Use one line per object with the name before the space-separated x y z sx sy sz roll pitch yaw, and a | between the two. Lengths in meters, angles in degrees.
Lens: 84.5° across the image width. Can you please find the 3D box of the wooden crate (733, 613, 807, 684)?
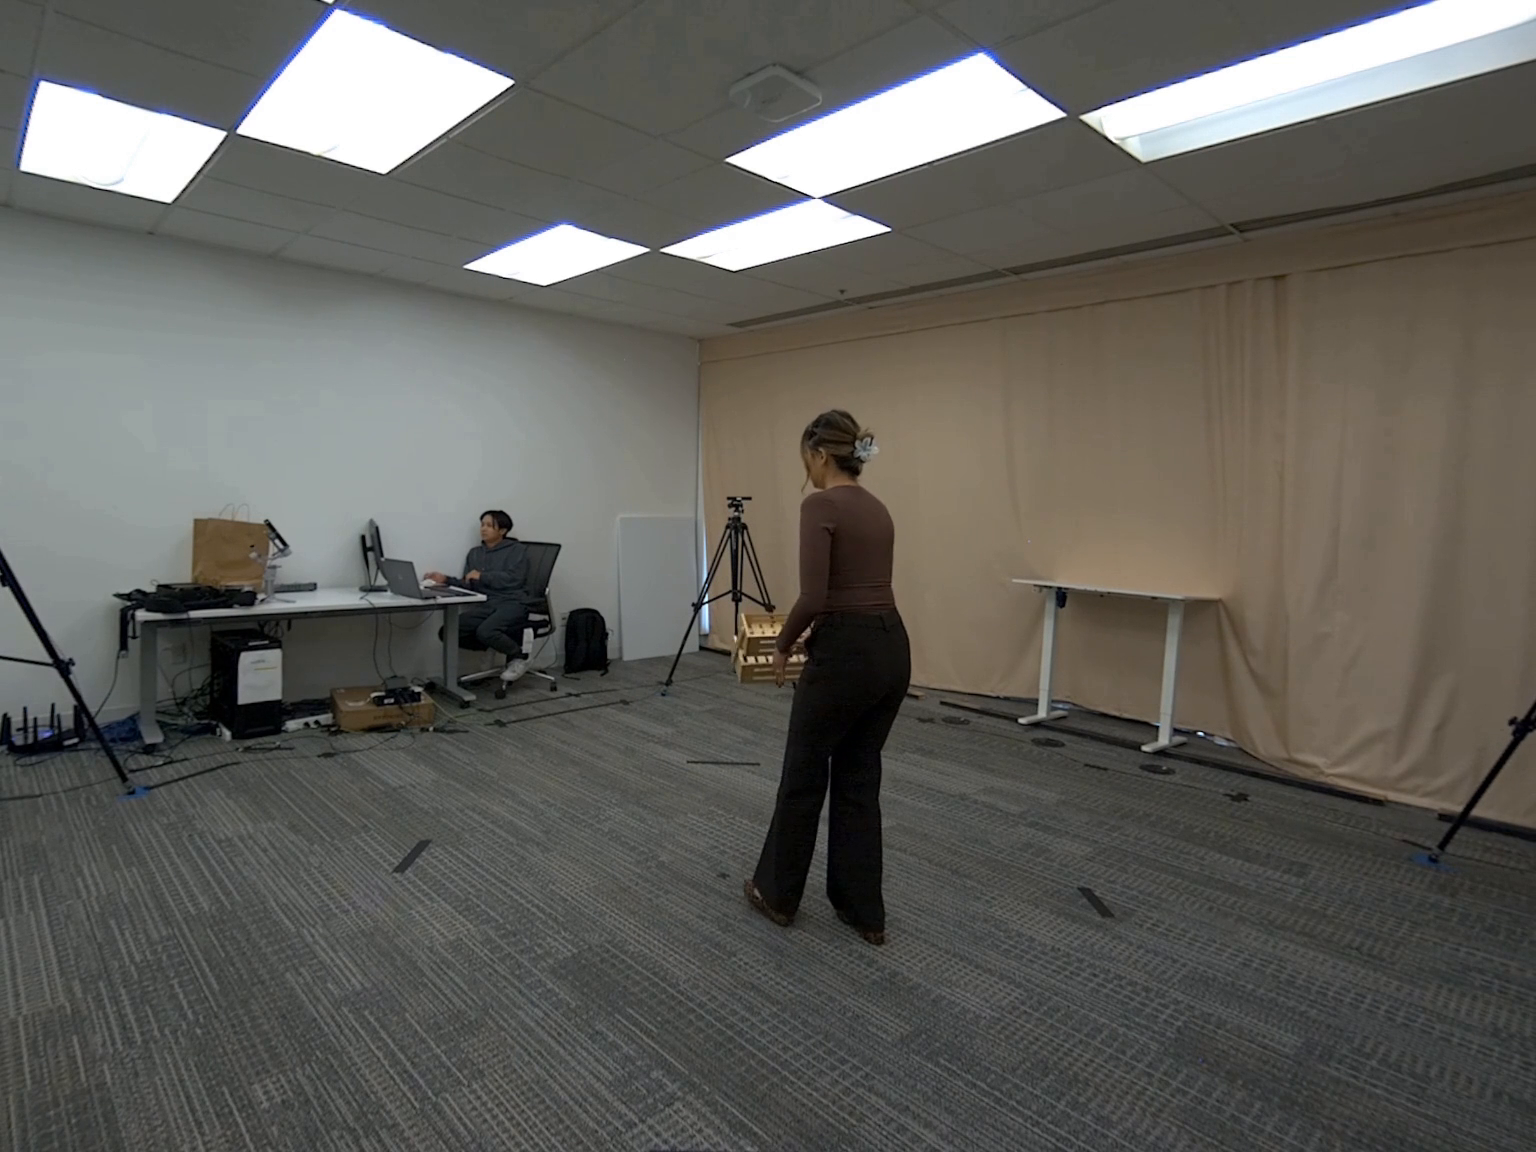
wooden crate | 0.031 0.245 3.234 0.322 0.269 0.309 0 31 -10
